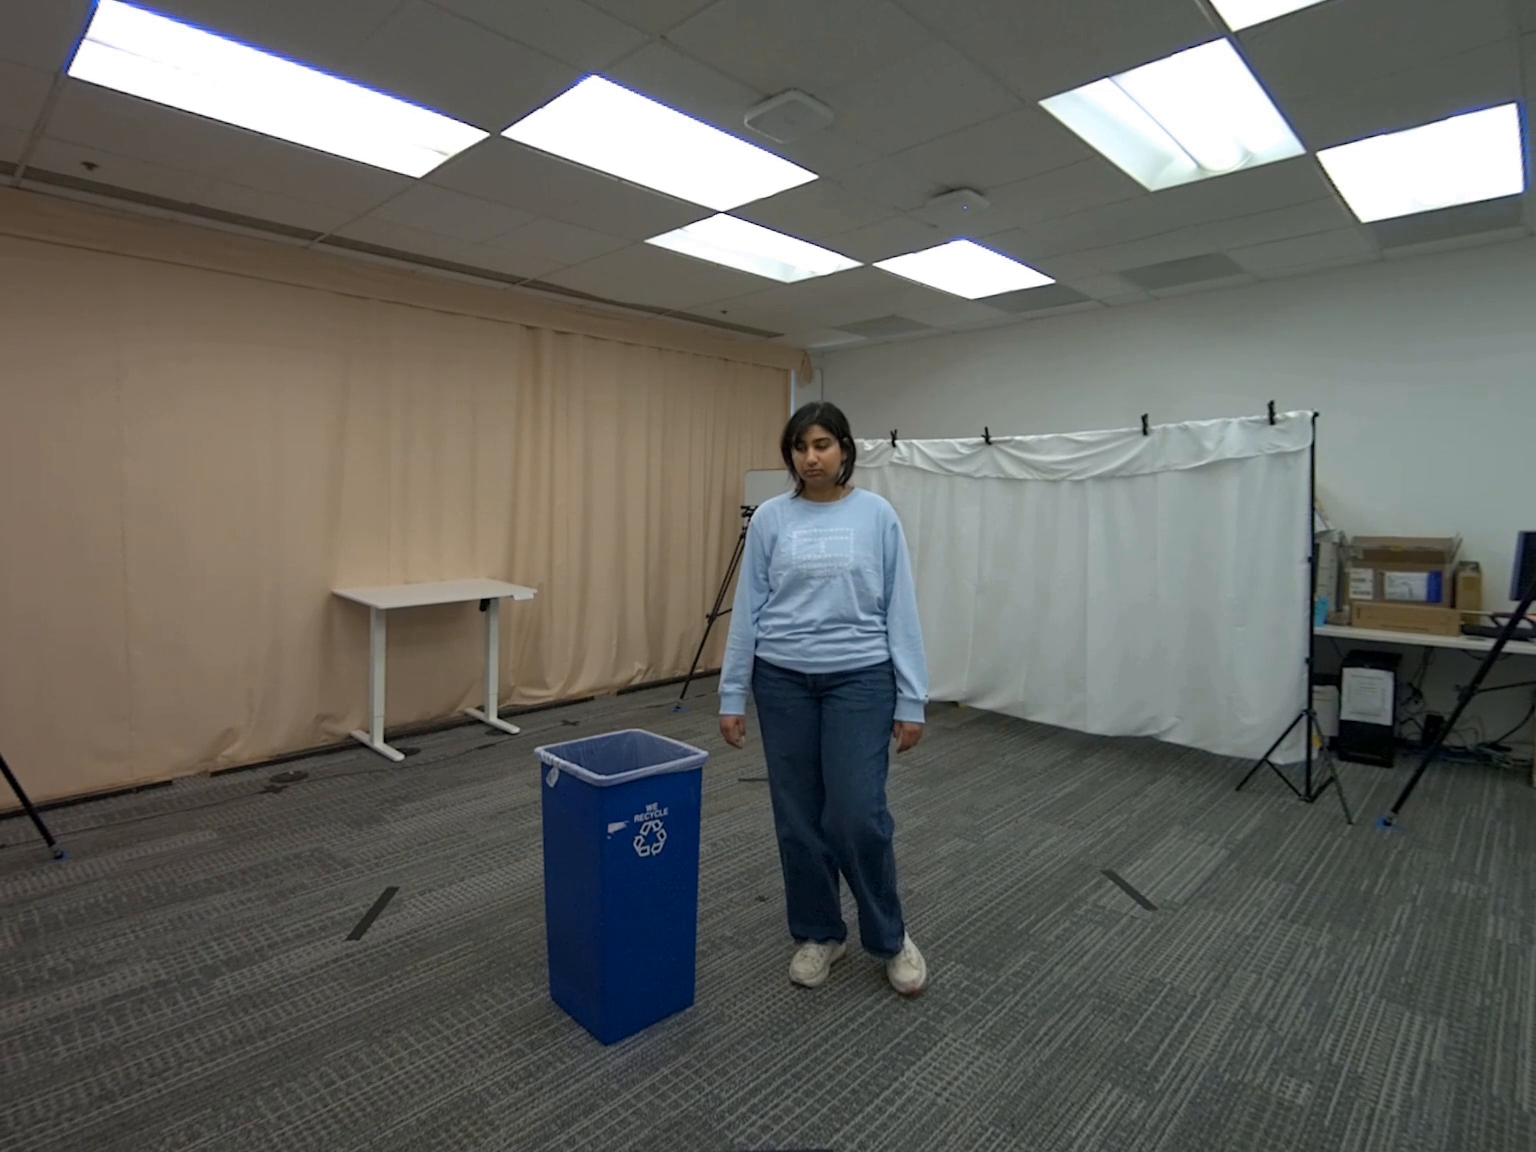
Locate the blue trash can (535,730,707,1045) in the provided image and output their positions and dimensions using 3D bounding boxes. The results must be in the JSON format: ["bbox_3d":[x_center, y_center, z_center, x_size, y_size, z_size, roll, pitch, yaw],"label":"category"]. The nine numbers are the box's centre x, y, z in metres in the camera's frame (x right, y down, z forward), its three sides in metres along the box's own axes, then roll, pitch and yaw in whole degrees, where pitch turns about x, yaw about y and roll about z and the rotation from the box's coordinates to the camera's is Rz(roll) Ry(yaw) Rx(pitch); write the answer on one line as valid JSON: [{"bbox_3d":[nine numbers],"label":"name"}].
[{"bbox_3d":[-0.401,0.843,2.359,0.366,0.712,0.386,-2,4,-43],"label":"blue trash can"}]
